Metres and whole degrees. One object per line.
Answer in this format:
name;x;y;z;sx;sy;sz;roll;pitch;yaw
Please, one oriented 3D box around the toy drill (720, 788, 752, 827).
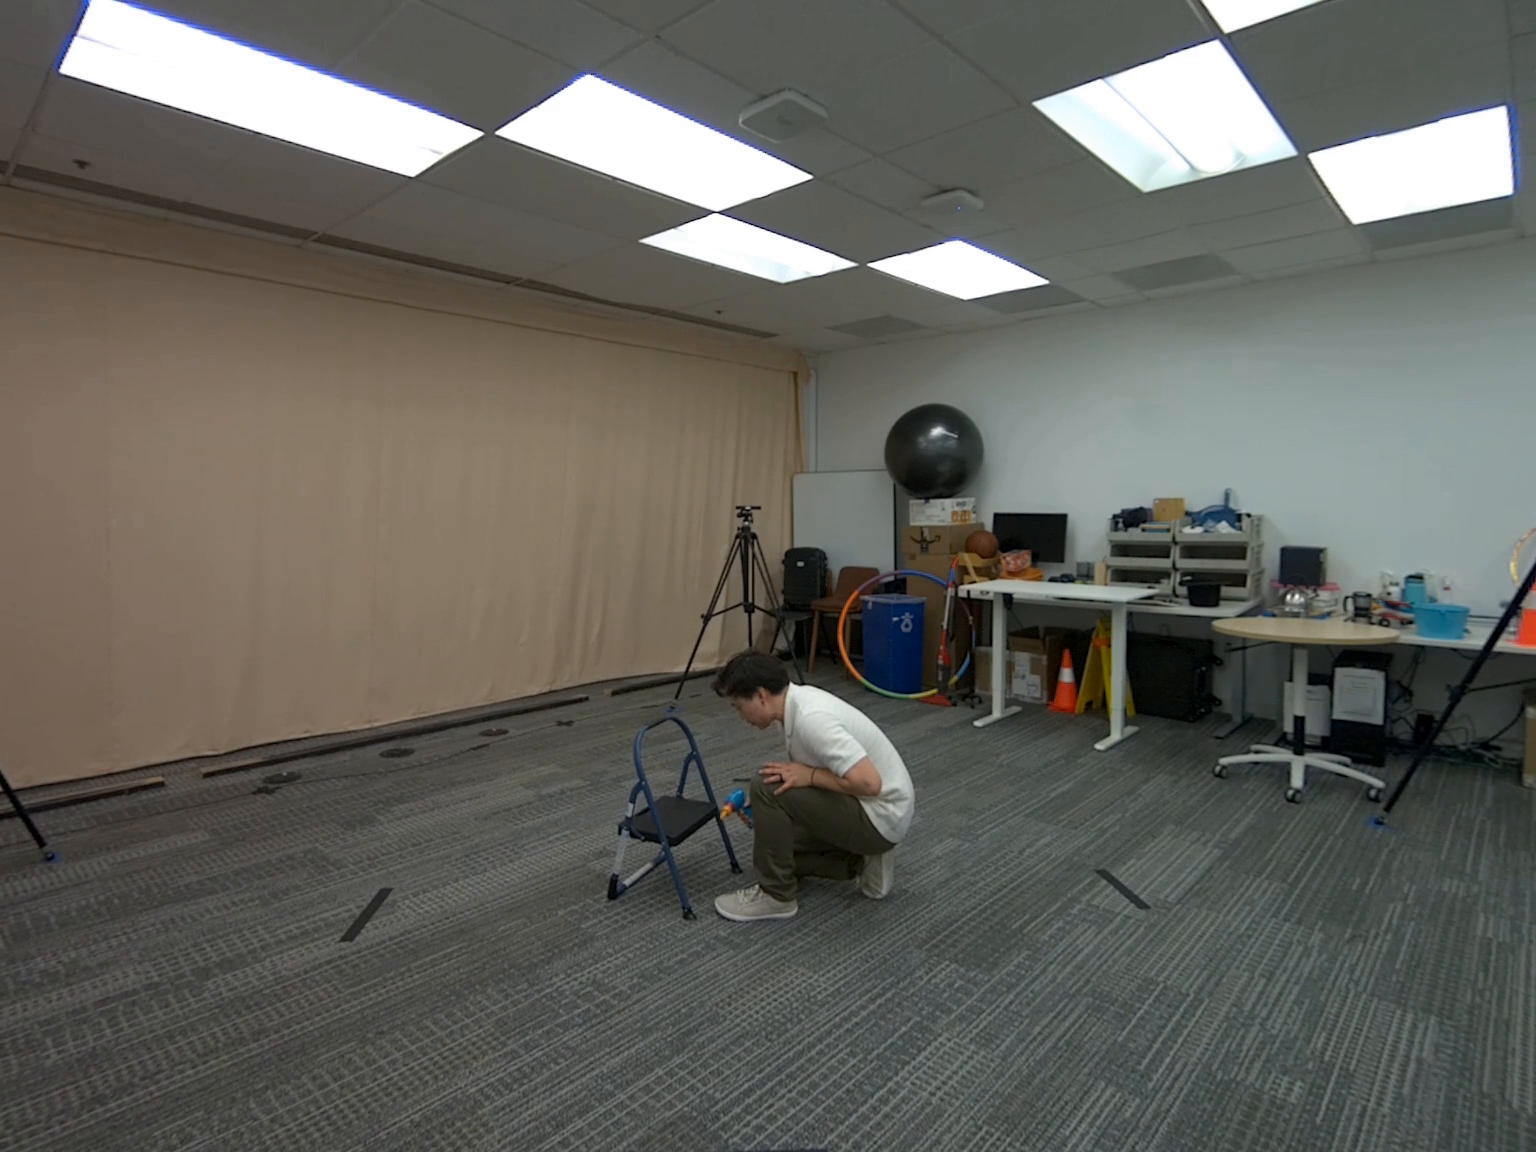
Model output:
toy drill;-0.090;0.852;3.033;0.147;0.061;0.168;36;31;6
